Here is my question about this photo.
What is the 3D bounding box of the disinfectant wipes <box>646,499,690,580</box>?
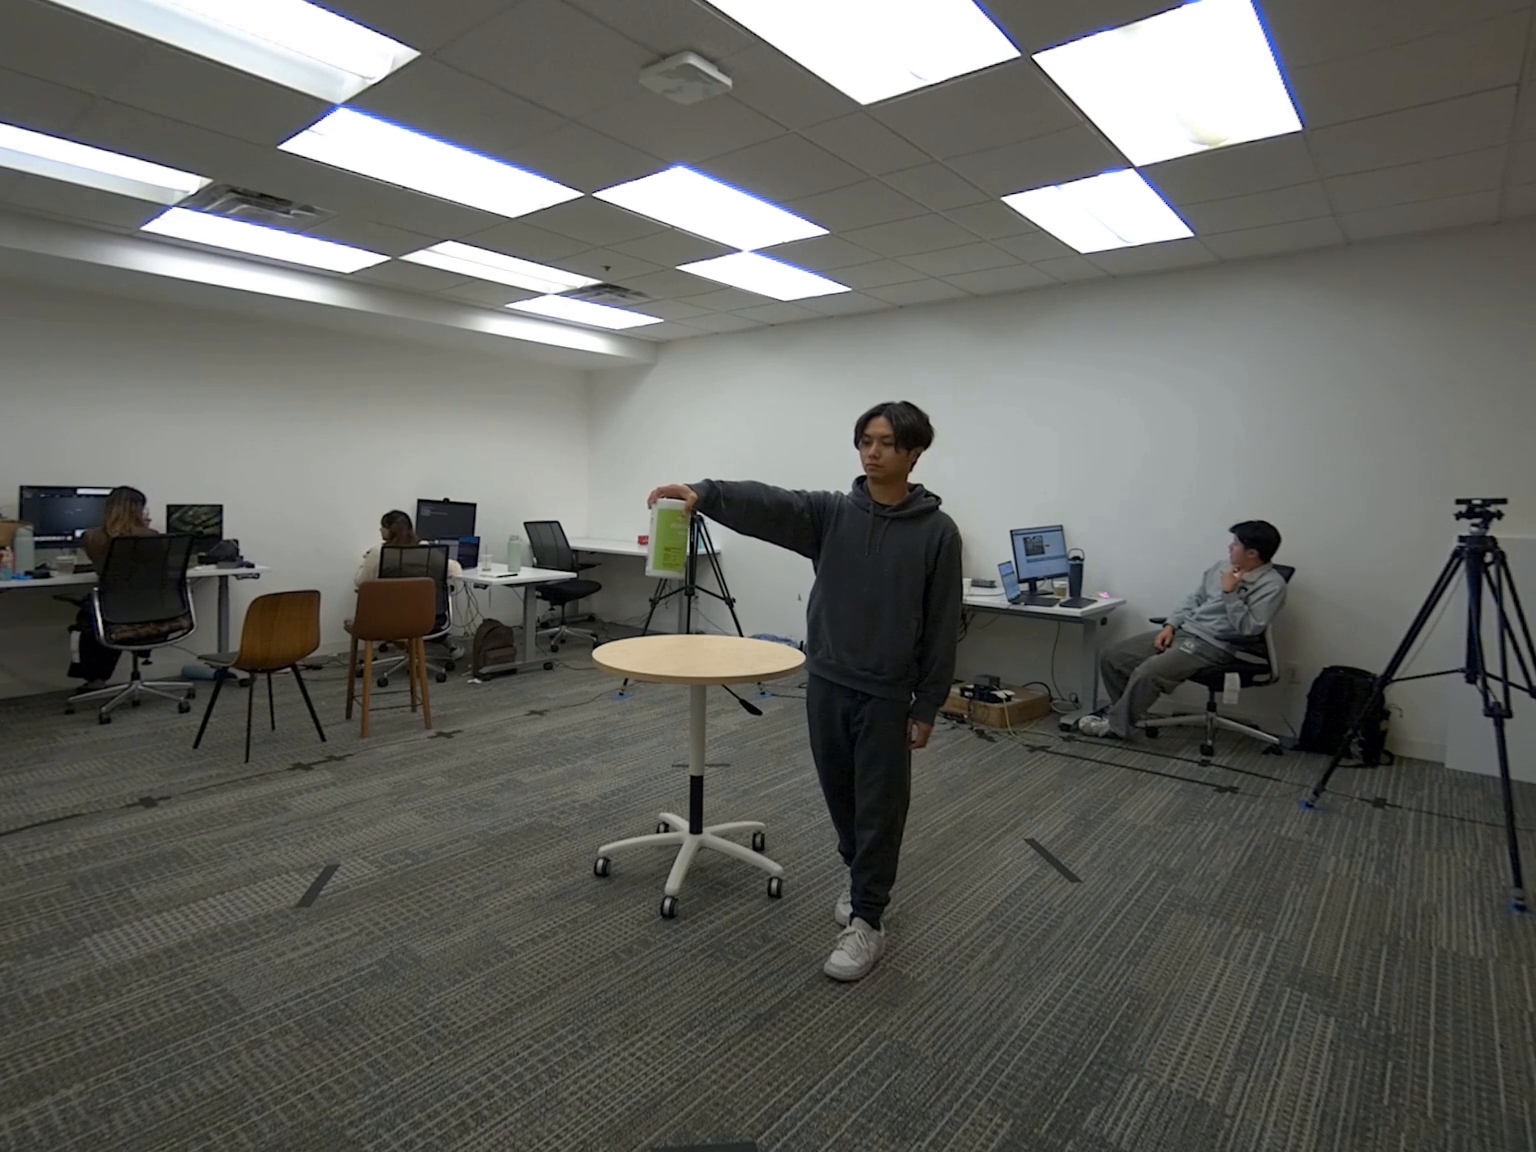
[{"bbox_3d":[-0.282,-0.103,2.342,0.118,0.218,0.118,3,-2,-2],"label":"disinfectant wipes"}]
